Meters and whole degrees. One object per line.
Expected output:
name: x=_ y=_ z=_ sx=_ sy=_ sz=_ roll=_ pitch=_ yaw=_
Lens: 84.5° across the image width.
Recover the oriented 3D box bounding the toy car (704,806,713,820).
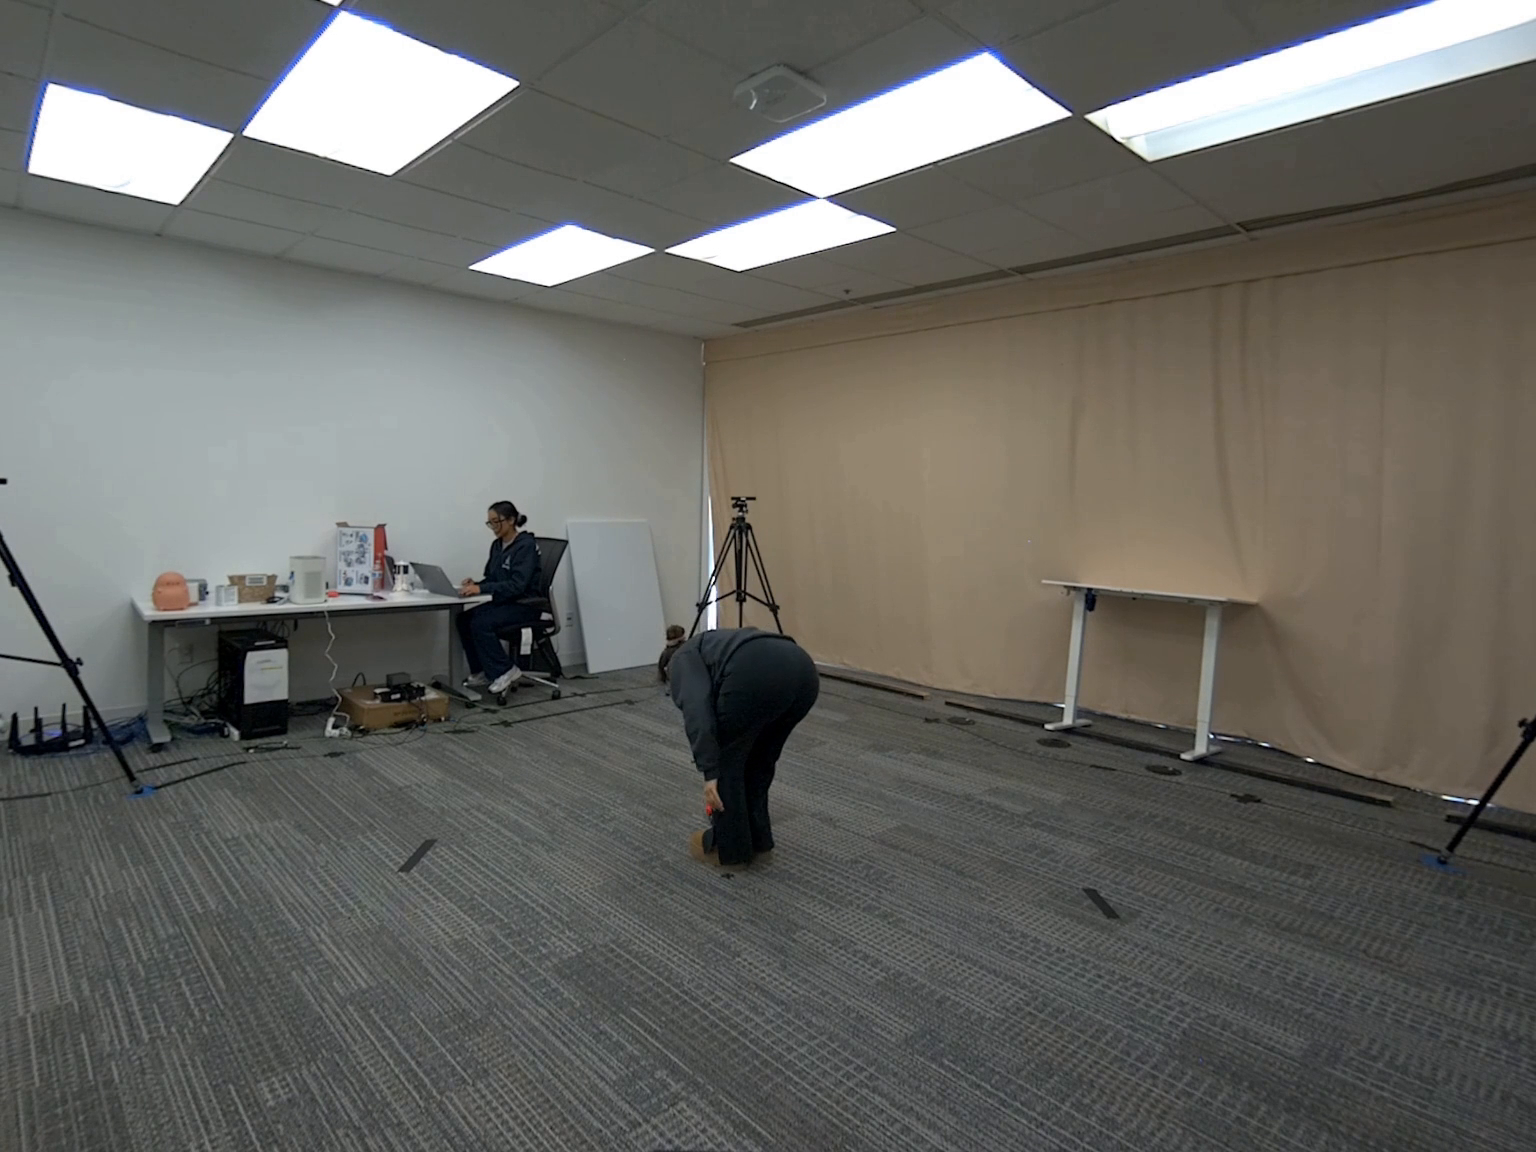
toy car: x=-0.177 y=1.027 z=3.610 sx=0.127 sy=0.082 sz=0.262 roll=-2 pitch=17 yaw=-39
